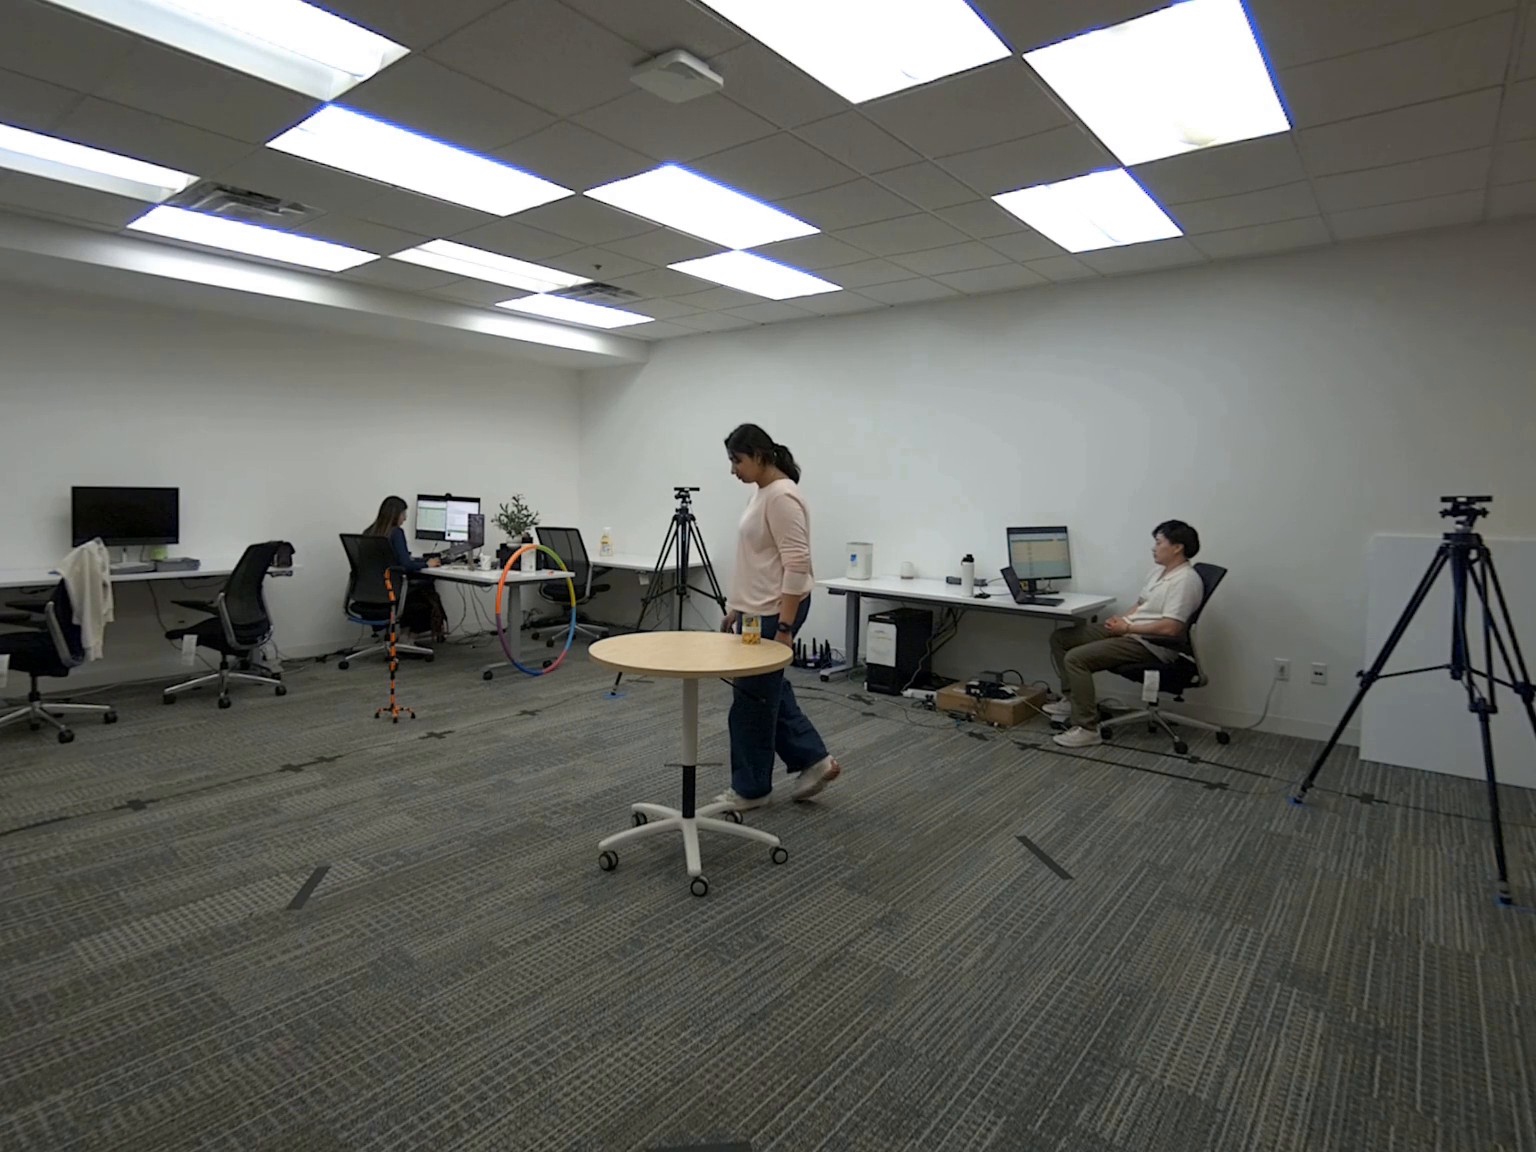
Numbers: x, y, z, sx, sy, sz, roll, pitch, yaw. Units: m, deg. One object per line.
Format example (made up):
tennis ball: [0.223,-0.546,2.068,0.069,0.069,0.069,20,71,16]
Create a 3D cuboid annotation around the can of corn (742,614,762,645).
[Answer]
can of corn: [-0.081,0.205,3.349,0.074,0.111,0.074,3,1,-2]
